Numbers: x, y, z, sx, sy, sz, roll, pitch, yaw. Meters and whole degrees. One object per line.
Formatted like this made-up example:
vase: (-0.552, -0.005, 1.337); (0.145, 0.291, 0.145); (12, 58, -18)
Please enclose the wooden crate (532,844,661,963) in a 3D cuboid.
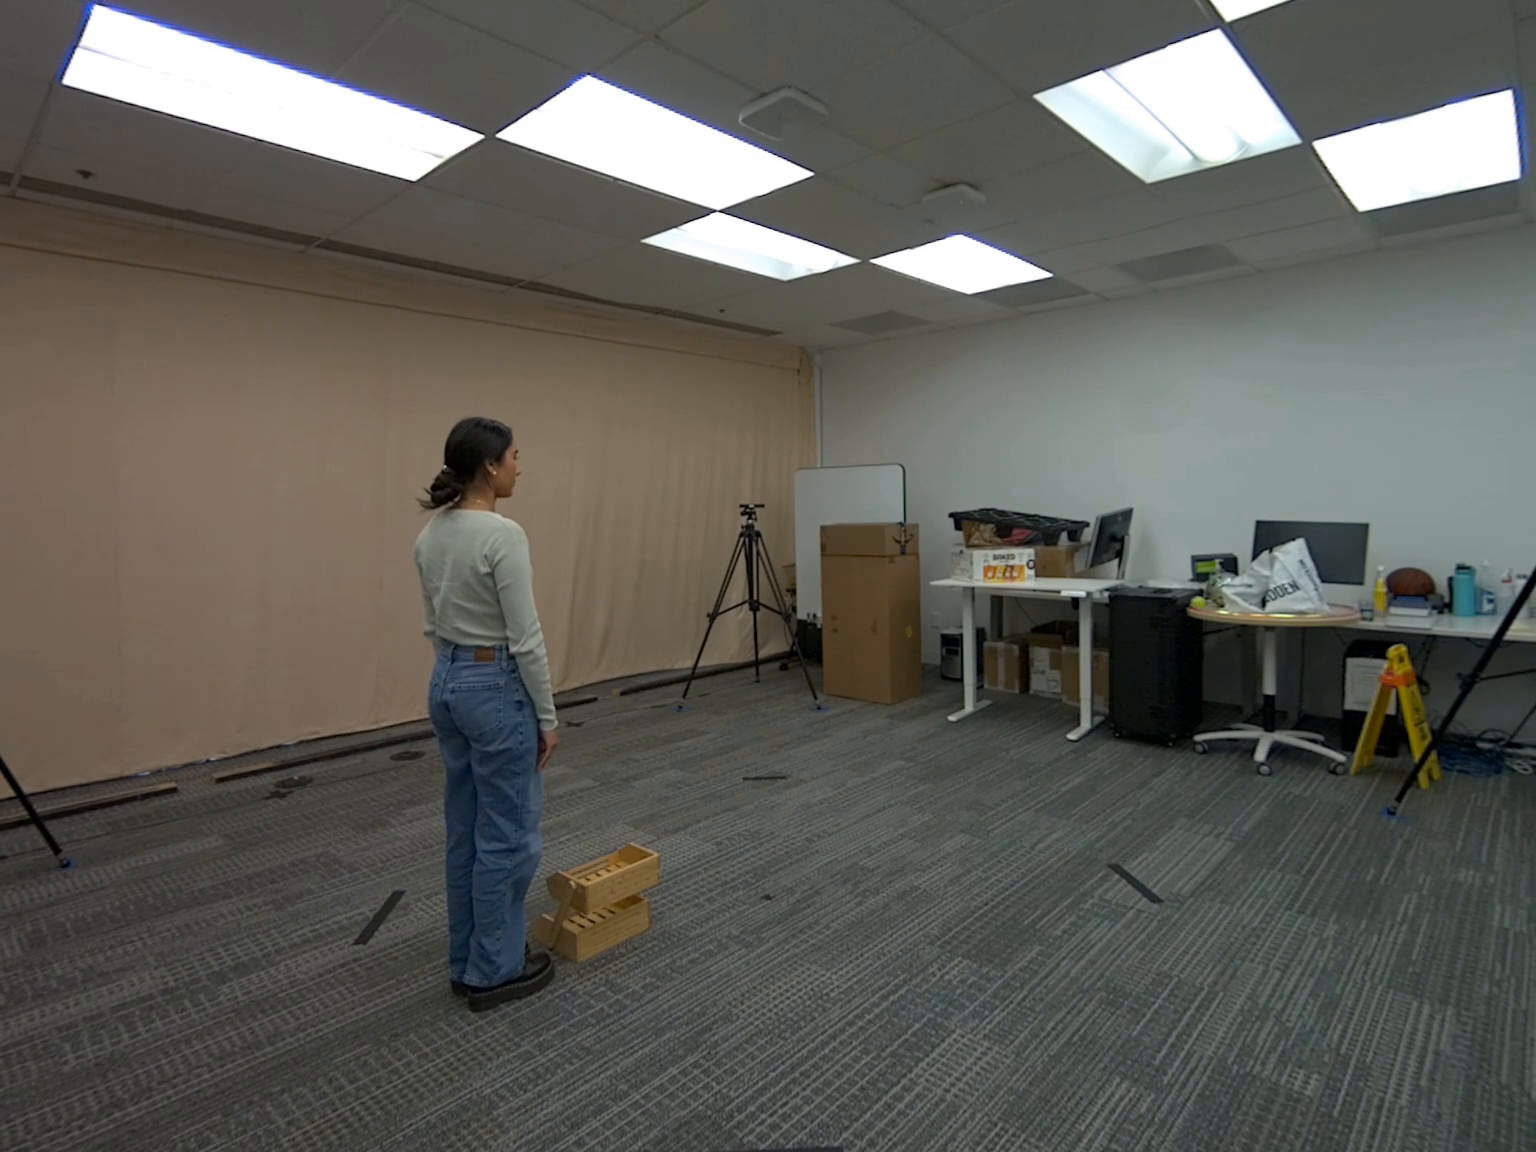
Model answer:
wooden crate: (-0.563, 1.039, 2.741); (0.312, 0.272, 0.314); (4, 6, 42)
